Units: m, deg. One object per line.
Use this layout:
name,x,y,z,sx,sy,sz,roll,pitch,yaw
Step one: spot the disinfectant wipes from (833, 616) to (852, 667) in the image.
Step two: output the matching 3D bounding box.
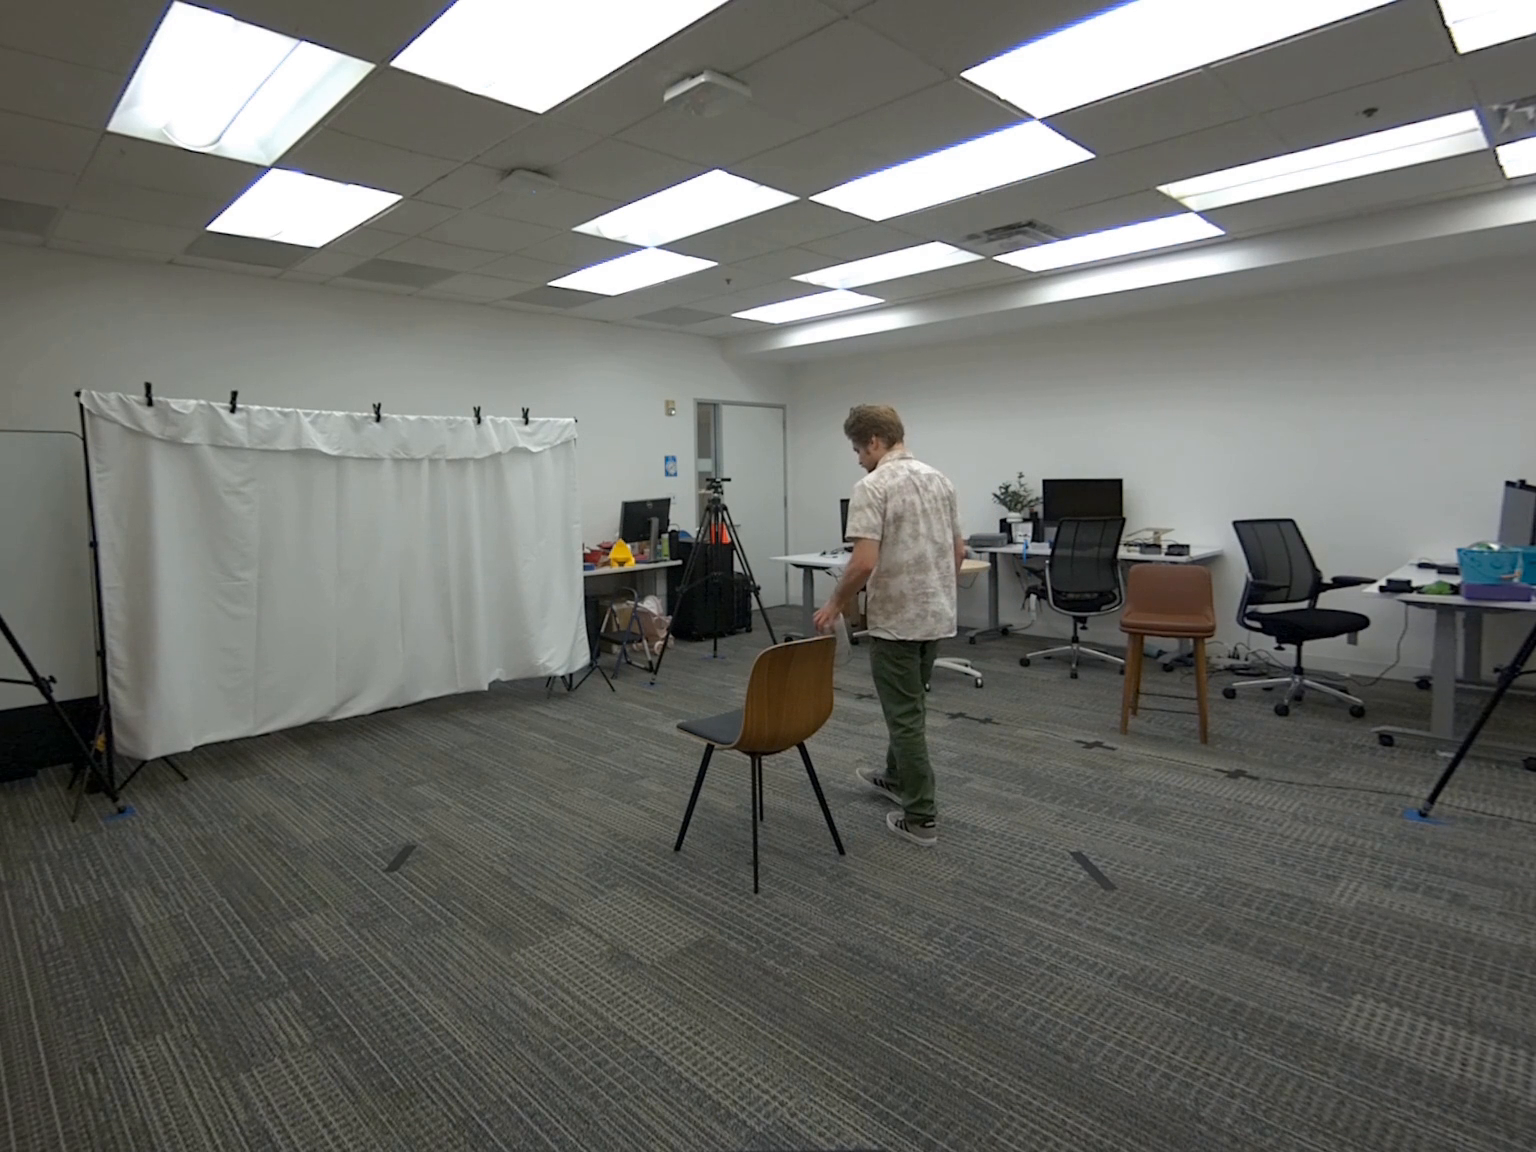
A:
disinfectant wipes,0.277,0.256,3.454,0.118,0.211,0.120,-12,29,5
